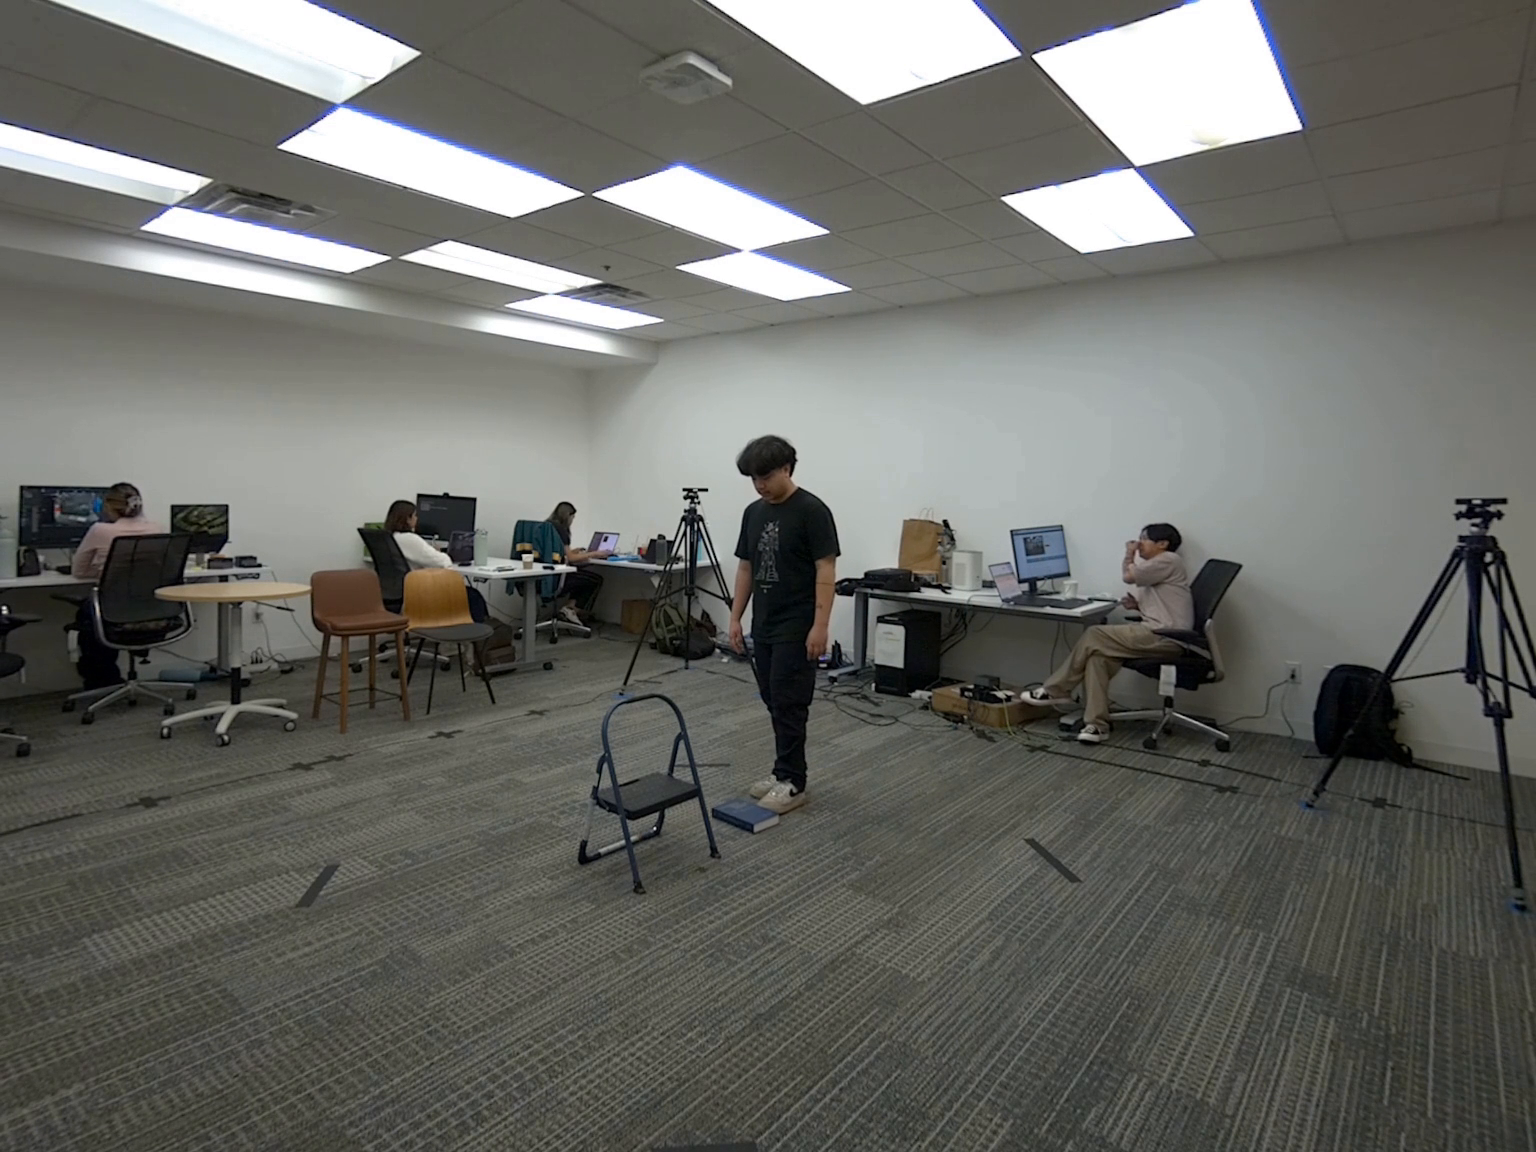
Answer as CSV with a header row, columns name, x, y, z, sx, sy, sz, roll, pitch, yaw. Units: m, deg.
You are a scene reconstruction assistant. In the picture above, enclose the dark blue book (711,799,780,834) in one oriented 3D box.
name,x,y,z,sx,sy,sz,roll,pitch,yaw
dark blue book,-0.103,1.004,3.579,0.253,0.045,0.158,6,8,43
